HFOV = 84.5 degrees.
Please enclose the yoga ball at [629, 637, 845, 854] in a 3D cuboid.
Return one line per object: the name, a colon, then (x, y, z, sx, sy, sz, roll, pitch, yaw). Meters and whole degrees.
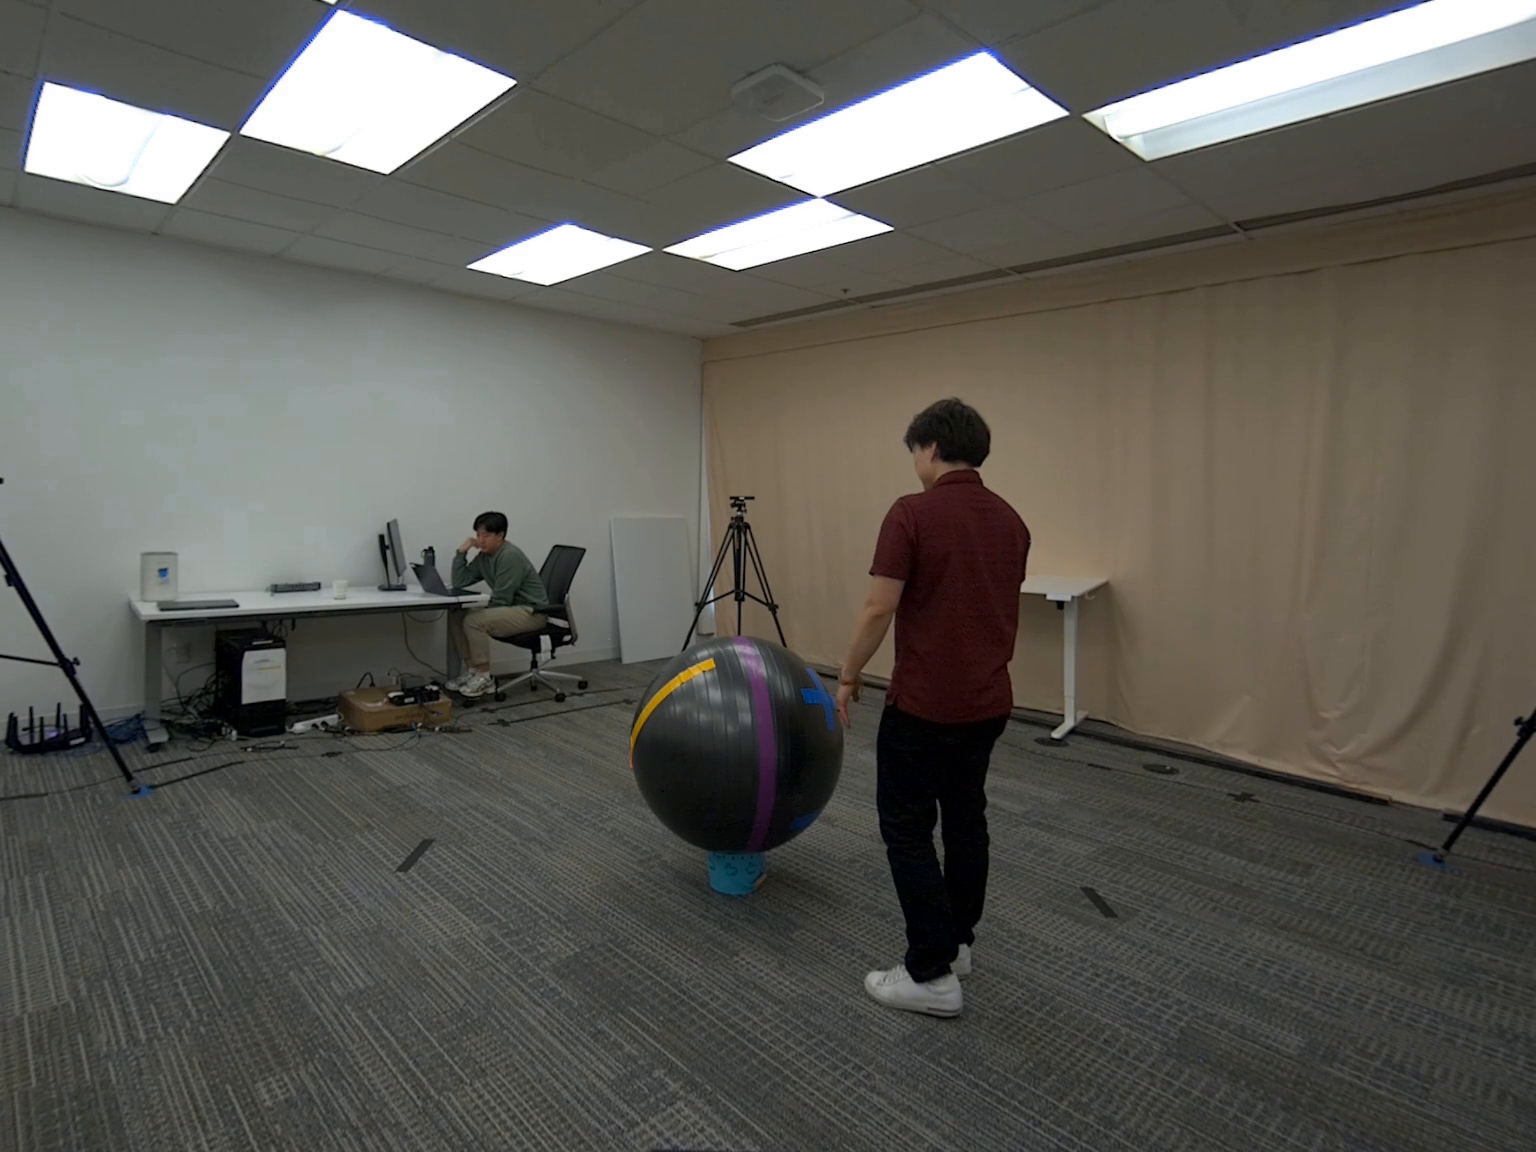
yoga ball: (-0.117, 0.600, 3.018, 0.757, 0.756, 0.761, 1, 4, -1)
